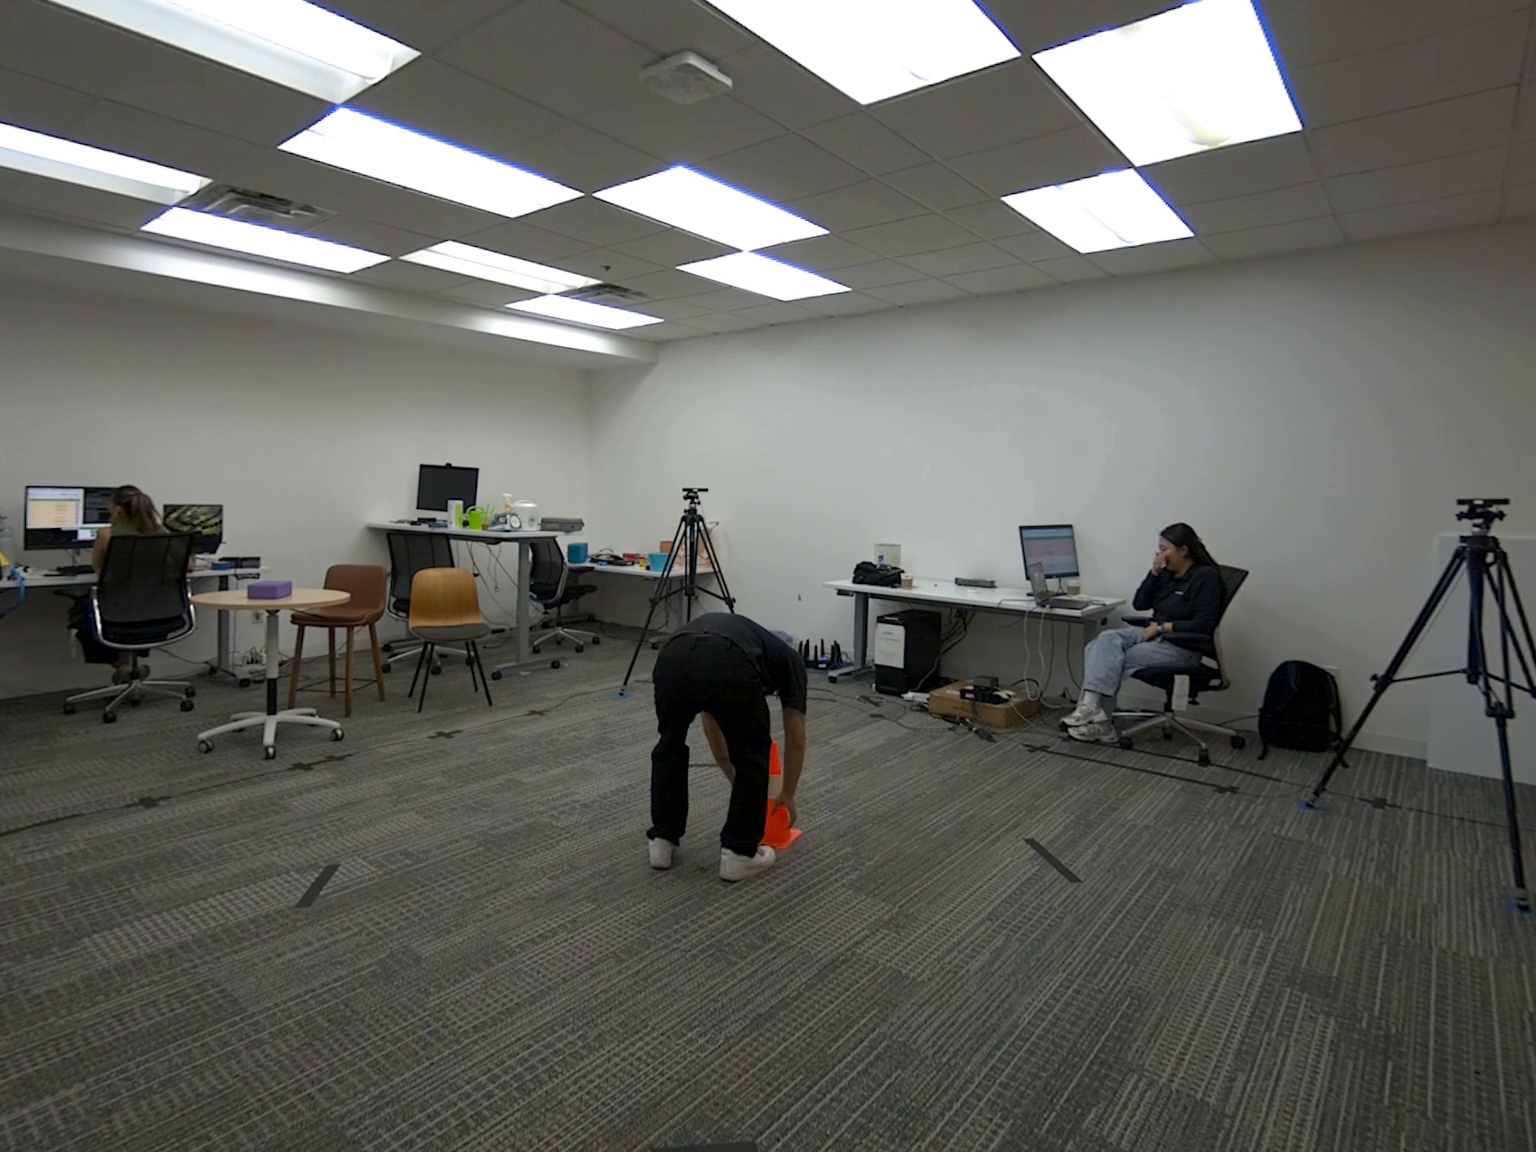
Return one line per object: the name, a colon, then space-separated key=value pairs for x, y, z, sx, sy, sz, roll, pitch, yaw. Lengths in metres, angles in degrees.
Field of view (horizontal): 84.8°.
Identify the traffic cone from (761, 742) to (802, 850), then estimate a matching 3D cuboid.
traffic cone: x=0.001 y=0.846 z=3.408 sx=0.210 sy=0.382 sz=0.199 roll=5 pitch=5 yaw=33
